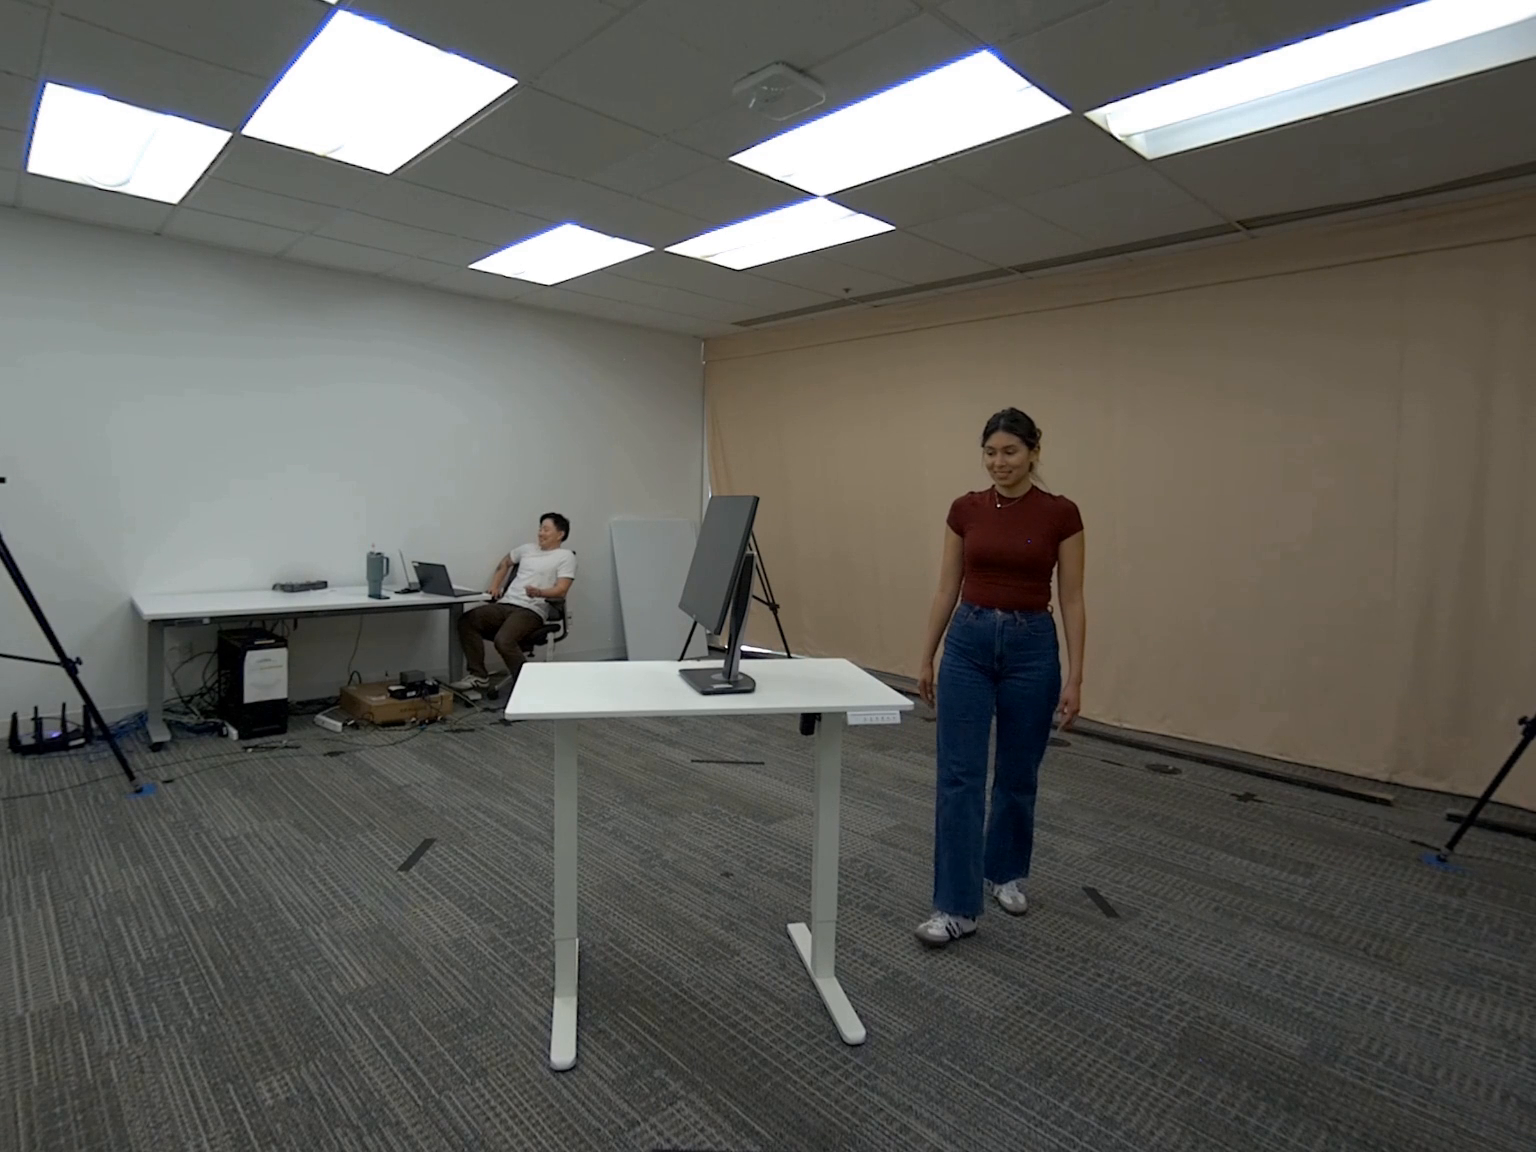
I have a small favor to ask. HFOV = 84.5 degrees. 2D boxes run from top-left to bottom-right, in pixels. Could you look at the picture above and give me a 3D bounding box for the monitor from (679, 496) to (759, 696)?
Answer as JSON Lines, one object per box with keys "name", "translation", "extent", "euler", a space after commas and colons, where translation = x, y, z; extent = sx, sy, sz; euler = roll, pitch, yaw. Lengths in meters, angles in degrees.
{"name": "monitor", "translation": [-0.122, 0.043, 2.295], "extent": [0.185, 0.522, 0.547], "euler": [2, 3, -17]}
